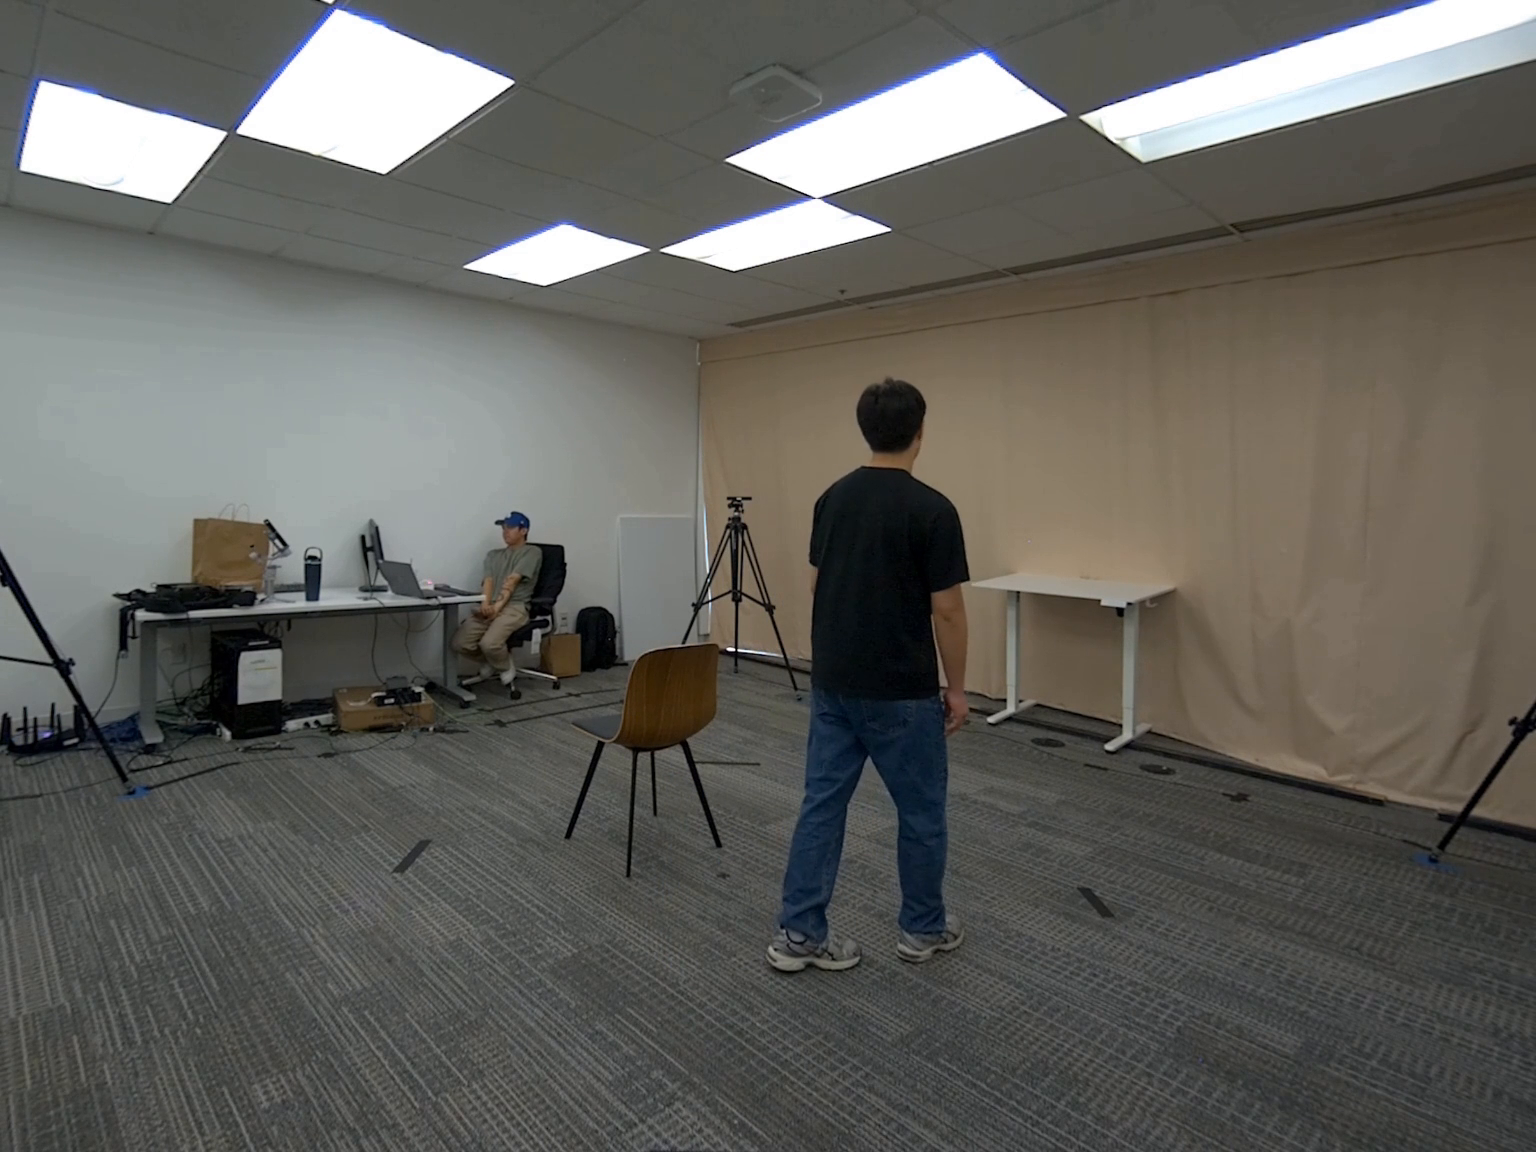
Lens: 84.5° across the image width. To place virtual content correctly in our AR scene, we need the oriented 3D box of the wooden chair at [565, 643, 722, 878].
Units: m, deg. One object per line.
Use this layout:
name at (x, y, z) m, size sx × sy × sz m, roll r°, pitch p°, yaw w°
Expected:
wooden chair at (-0.498, 0.649, 3.354) m, size 0.467 × 0.873 × 0.537 m, roll -2°, pitch 9°, yaw -42°
